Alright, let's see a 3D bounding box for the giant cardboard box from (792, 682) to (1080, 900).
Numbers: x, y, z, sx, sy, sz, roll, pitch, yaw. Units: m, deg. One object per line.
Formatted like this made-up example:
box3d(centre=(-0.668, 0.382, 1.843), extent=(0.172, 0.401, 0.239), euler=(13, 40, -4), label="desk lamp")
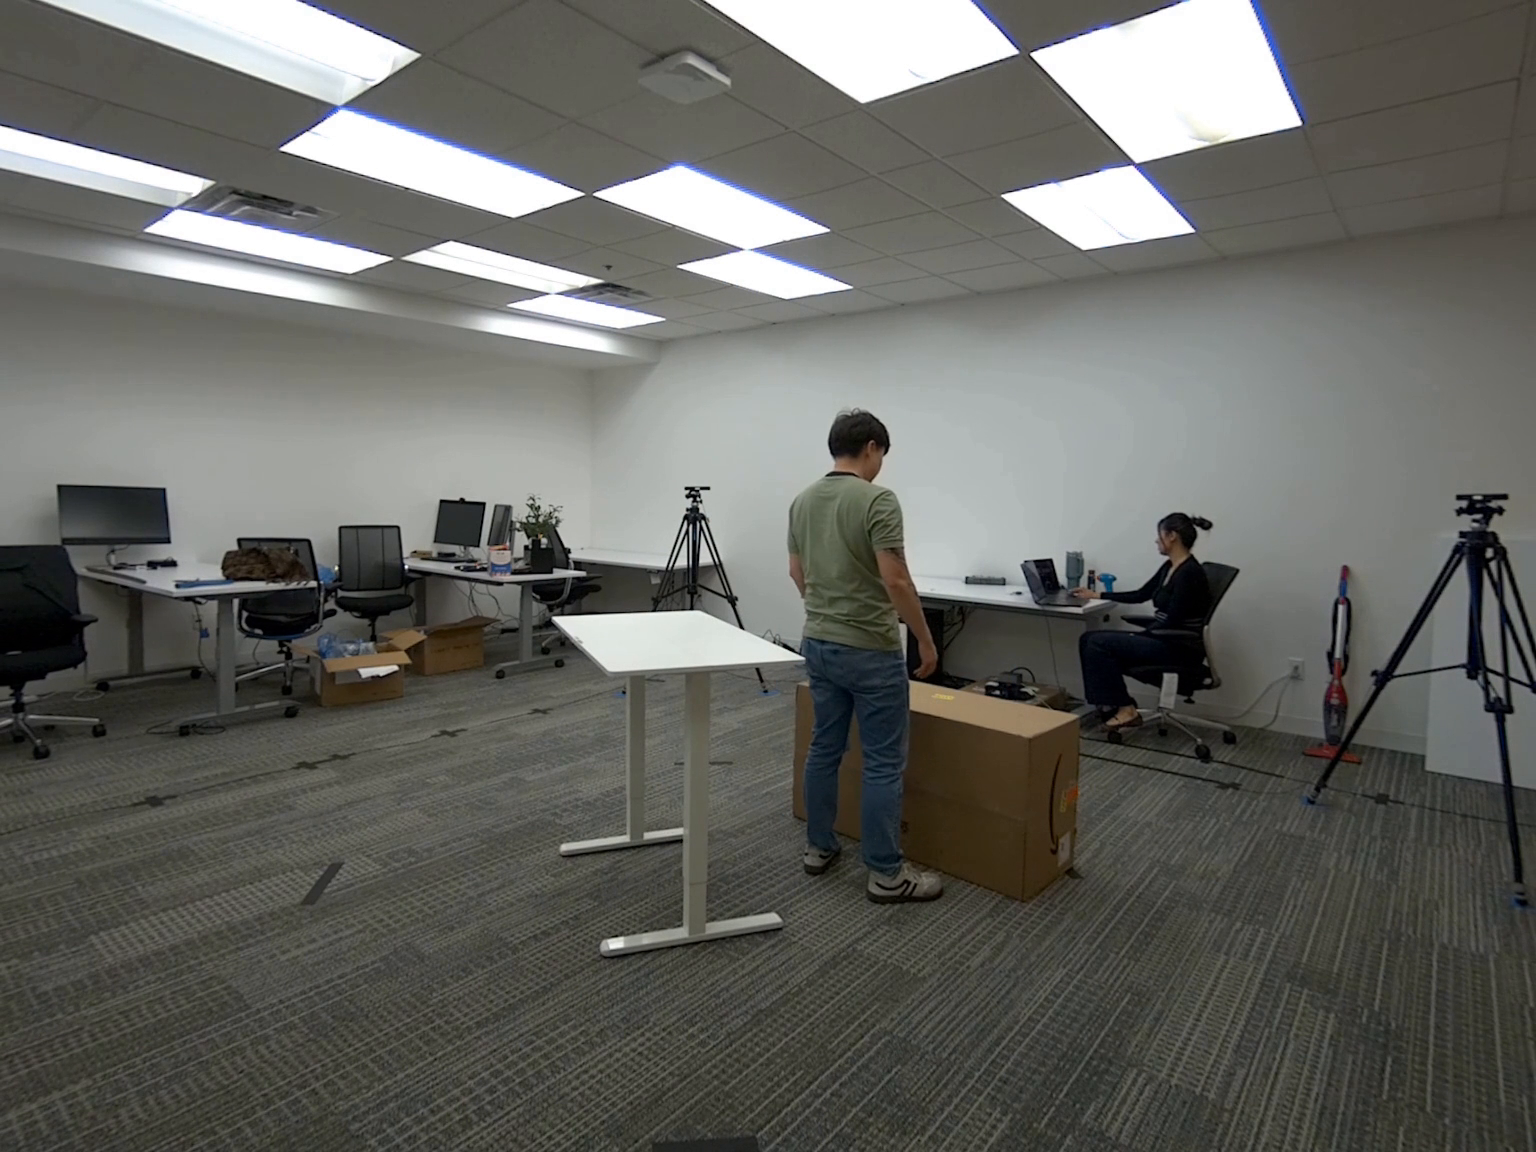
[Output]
box3d(centre=(0.628, 0.766, 3.384), extent=(1.061, 0.575, 0.413), euler=(6, 7, 43), label="giant cardboard box")
